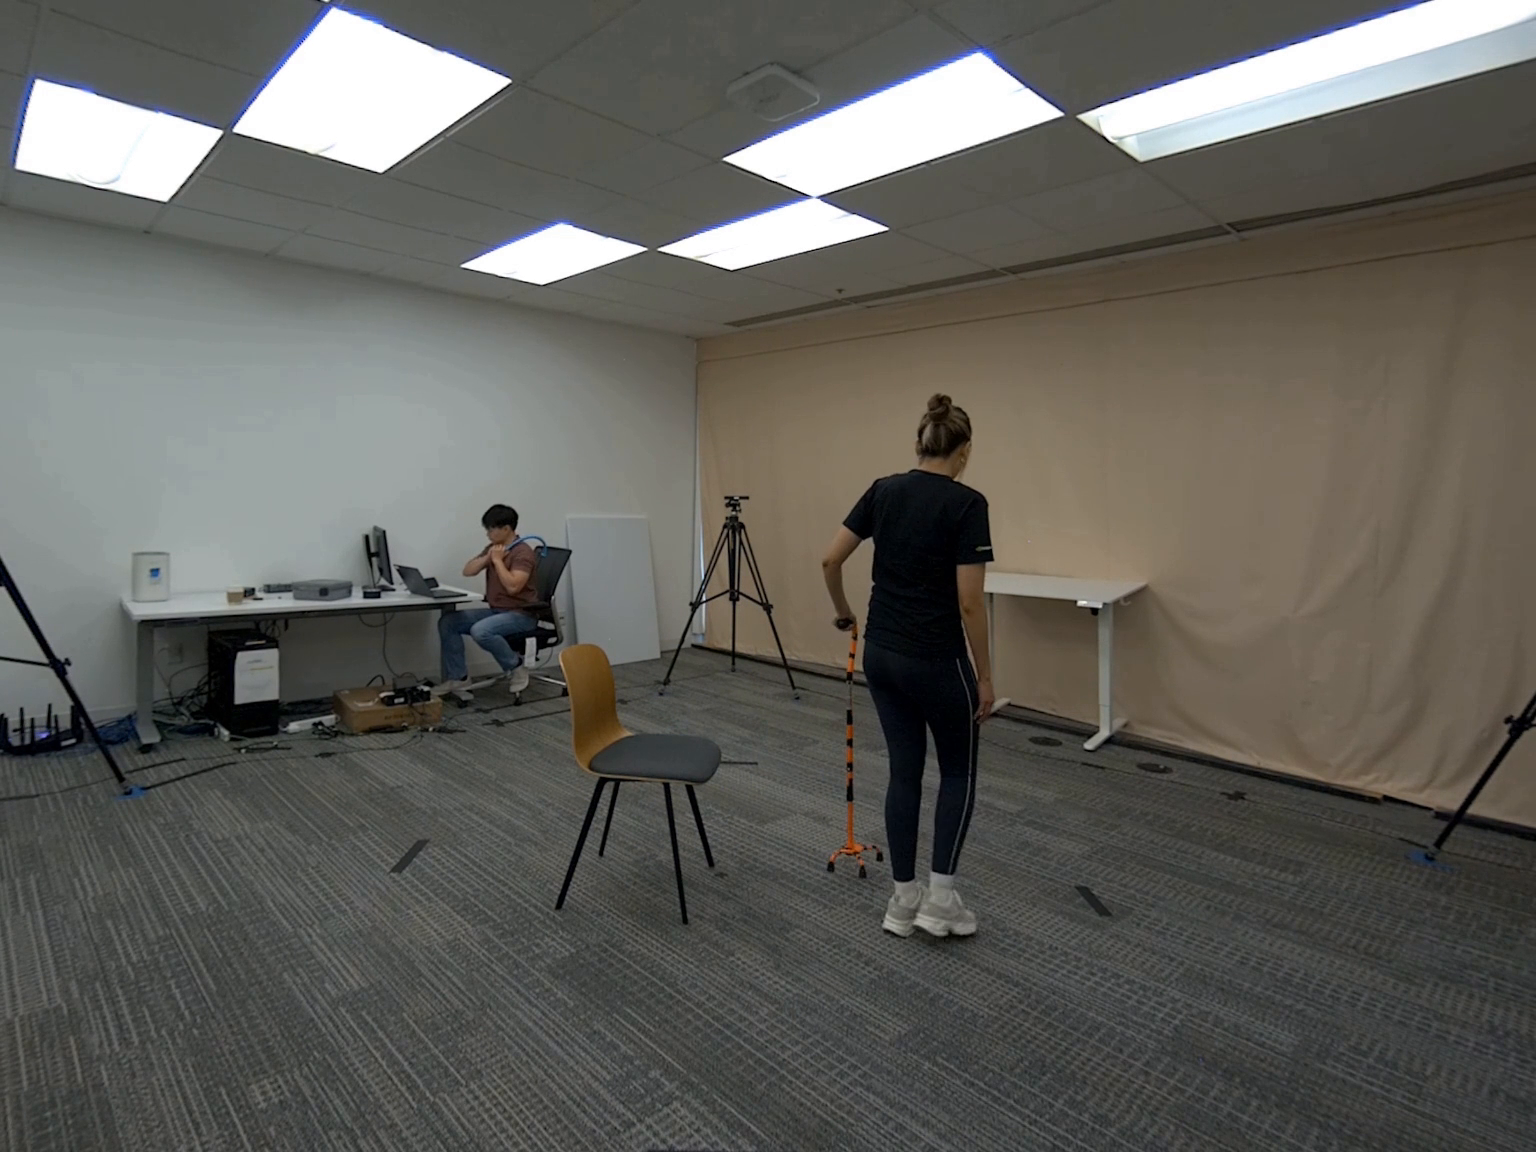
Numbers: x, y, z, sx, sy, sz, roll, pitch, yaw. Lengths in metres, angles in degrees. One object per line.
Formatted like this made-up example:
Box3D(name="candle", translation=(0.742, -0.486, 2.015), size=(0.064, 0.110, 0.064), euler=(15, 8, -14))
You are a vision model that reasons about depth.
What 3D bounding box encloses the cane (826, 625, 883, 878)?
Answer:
Box3D(name="cane", translation=(0.310, 0.618, 3.080), size=(0.155, 0.907, 0.202), euler=(-1, 1, 34))
